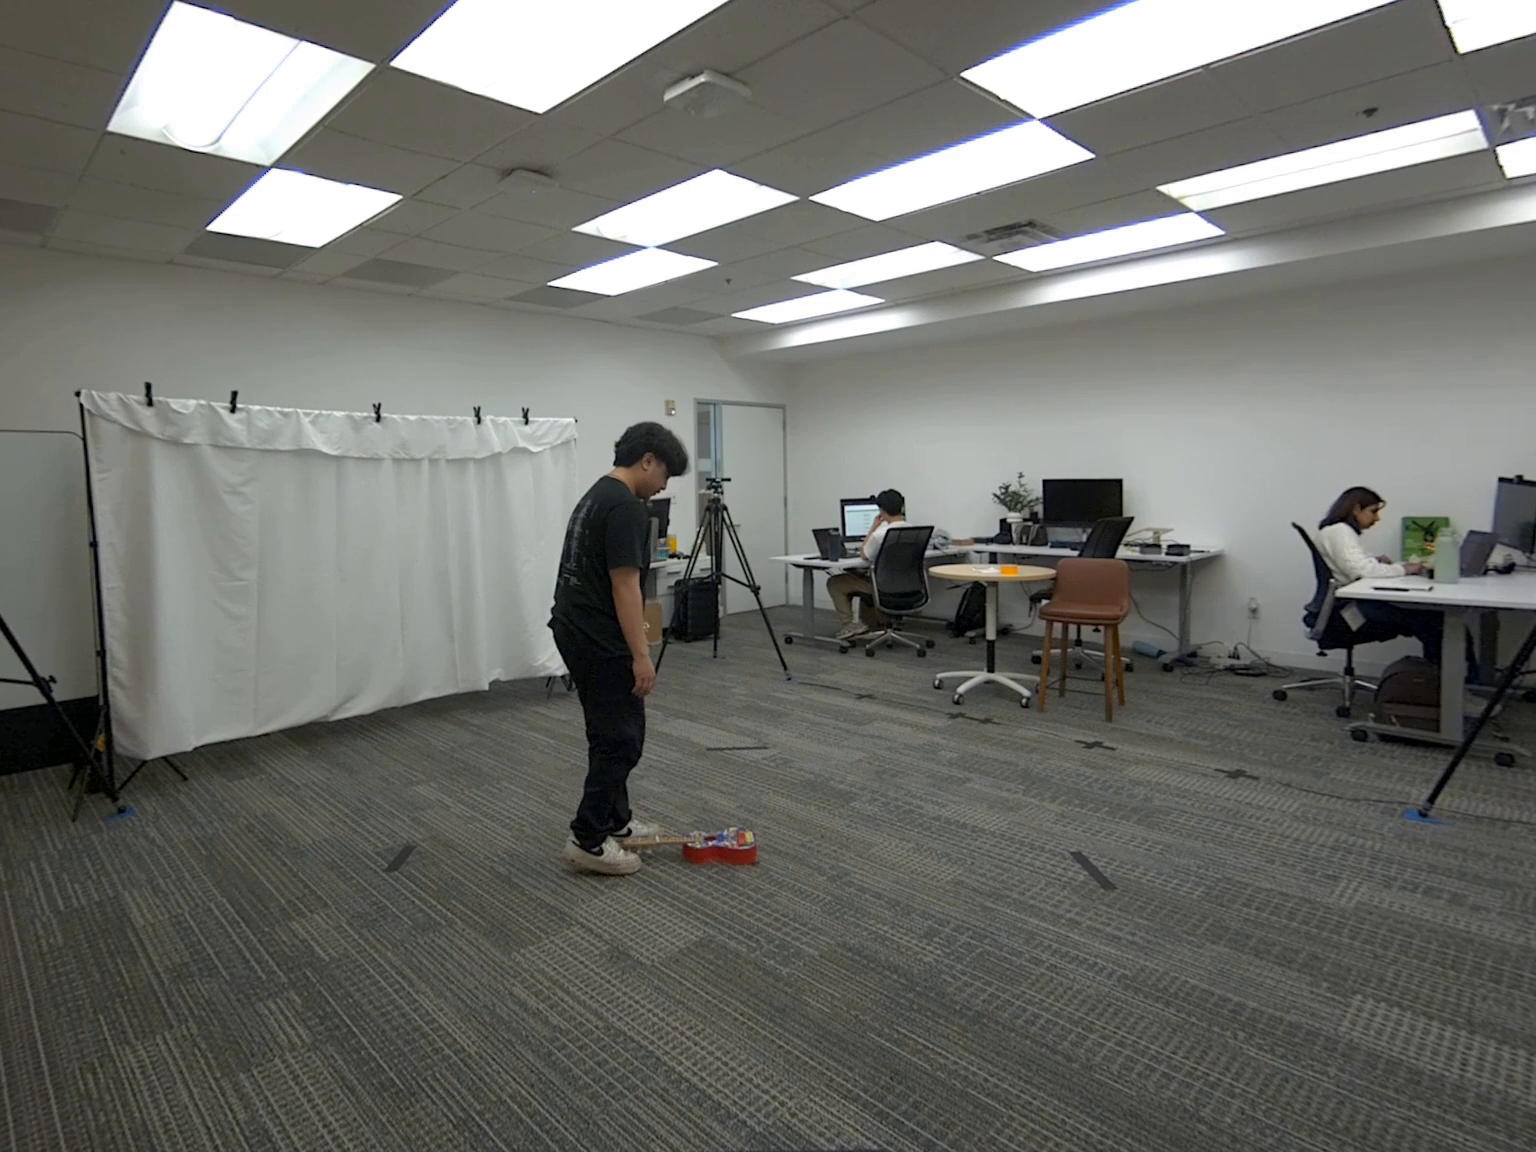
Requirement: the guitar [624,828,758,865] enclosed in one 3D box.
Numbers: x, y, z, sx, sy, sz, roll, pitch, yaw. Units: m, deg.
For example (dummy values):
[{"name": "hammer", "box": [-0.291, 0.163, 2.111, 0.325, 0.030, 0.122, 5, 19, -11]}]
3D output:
[{"name": "guitar", "box": [-0.288, 0.994, 3.201, 0.501, 0.070, 0.193, 1, 7, 6]}]
